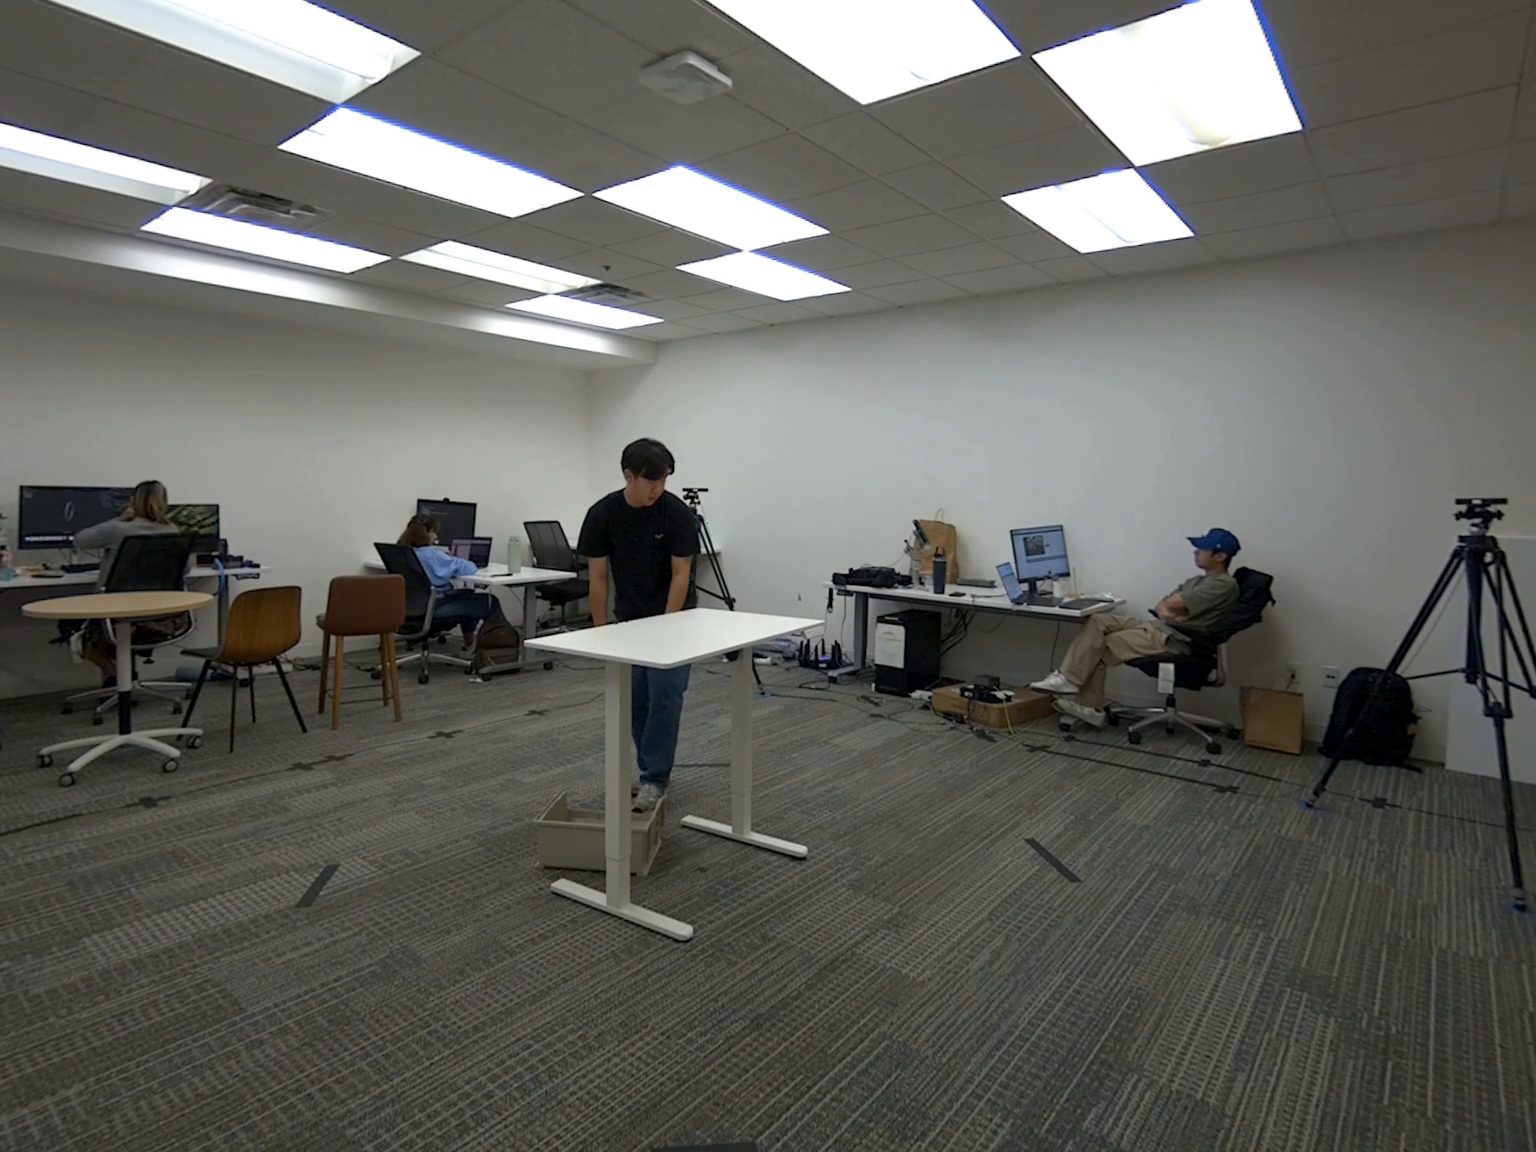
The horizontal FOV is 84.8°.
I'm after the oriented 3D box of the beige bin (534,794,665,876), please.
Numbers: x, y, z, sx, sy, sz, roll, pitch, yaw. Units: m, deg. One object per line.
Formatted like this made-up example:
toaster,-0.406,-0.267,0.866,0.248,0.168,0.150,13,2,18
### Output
beige bin,-0.638,0.958,3.231,0.426,0.188,0.376,2,5,6
